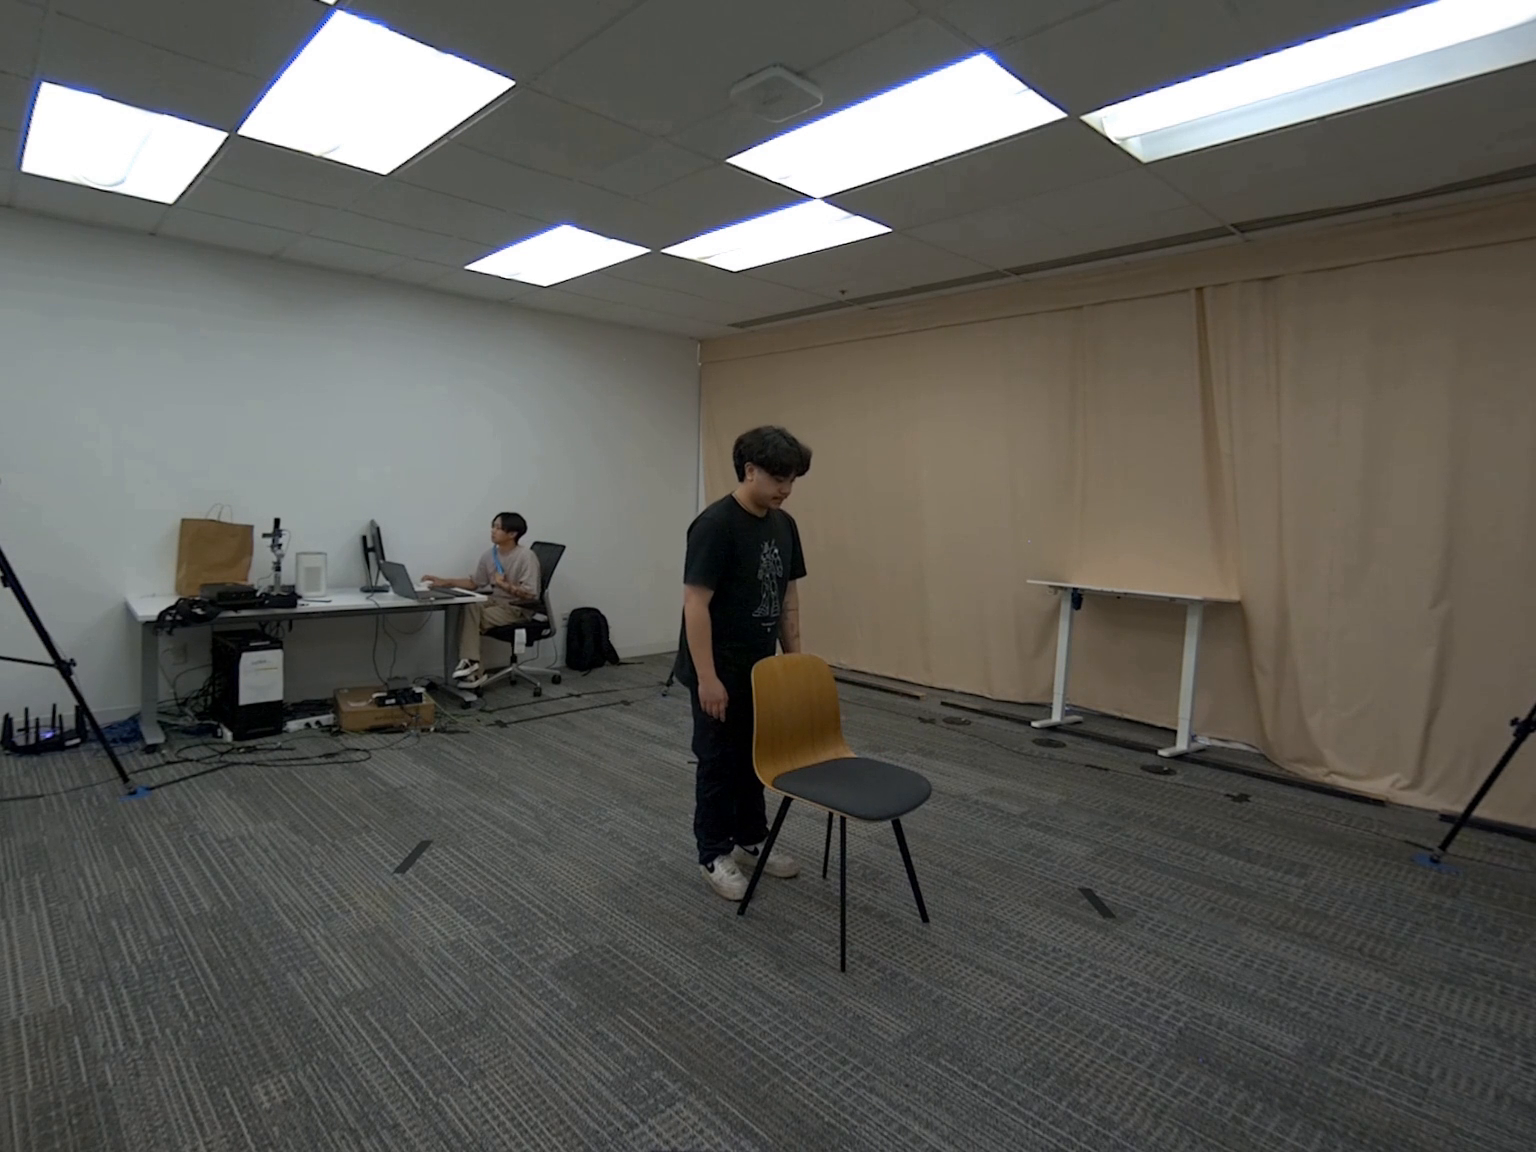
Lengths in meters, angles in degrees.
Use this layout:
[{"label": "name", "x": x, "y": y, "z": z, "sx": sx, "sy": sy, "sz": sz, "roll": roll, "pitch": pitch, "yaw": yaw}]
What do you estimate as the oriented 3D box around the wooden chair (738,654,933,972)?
[{"label": "wooden chair", "x": 0.231, "y": 0.720, "z": 2.768, "sx": 0.467, "sy": 0.877, "sz": 0.535, "roll": -1, "pitch": 0, "yaw": -45}]
